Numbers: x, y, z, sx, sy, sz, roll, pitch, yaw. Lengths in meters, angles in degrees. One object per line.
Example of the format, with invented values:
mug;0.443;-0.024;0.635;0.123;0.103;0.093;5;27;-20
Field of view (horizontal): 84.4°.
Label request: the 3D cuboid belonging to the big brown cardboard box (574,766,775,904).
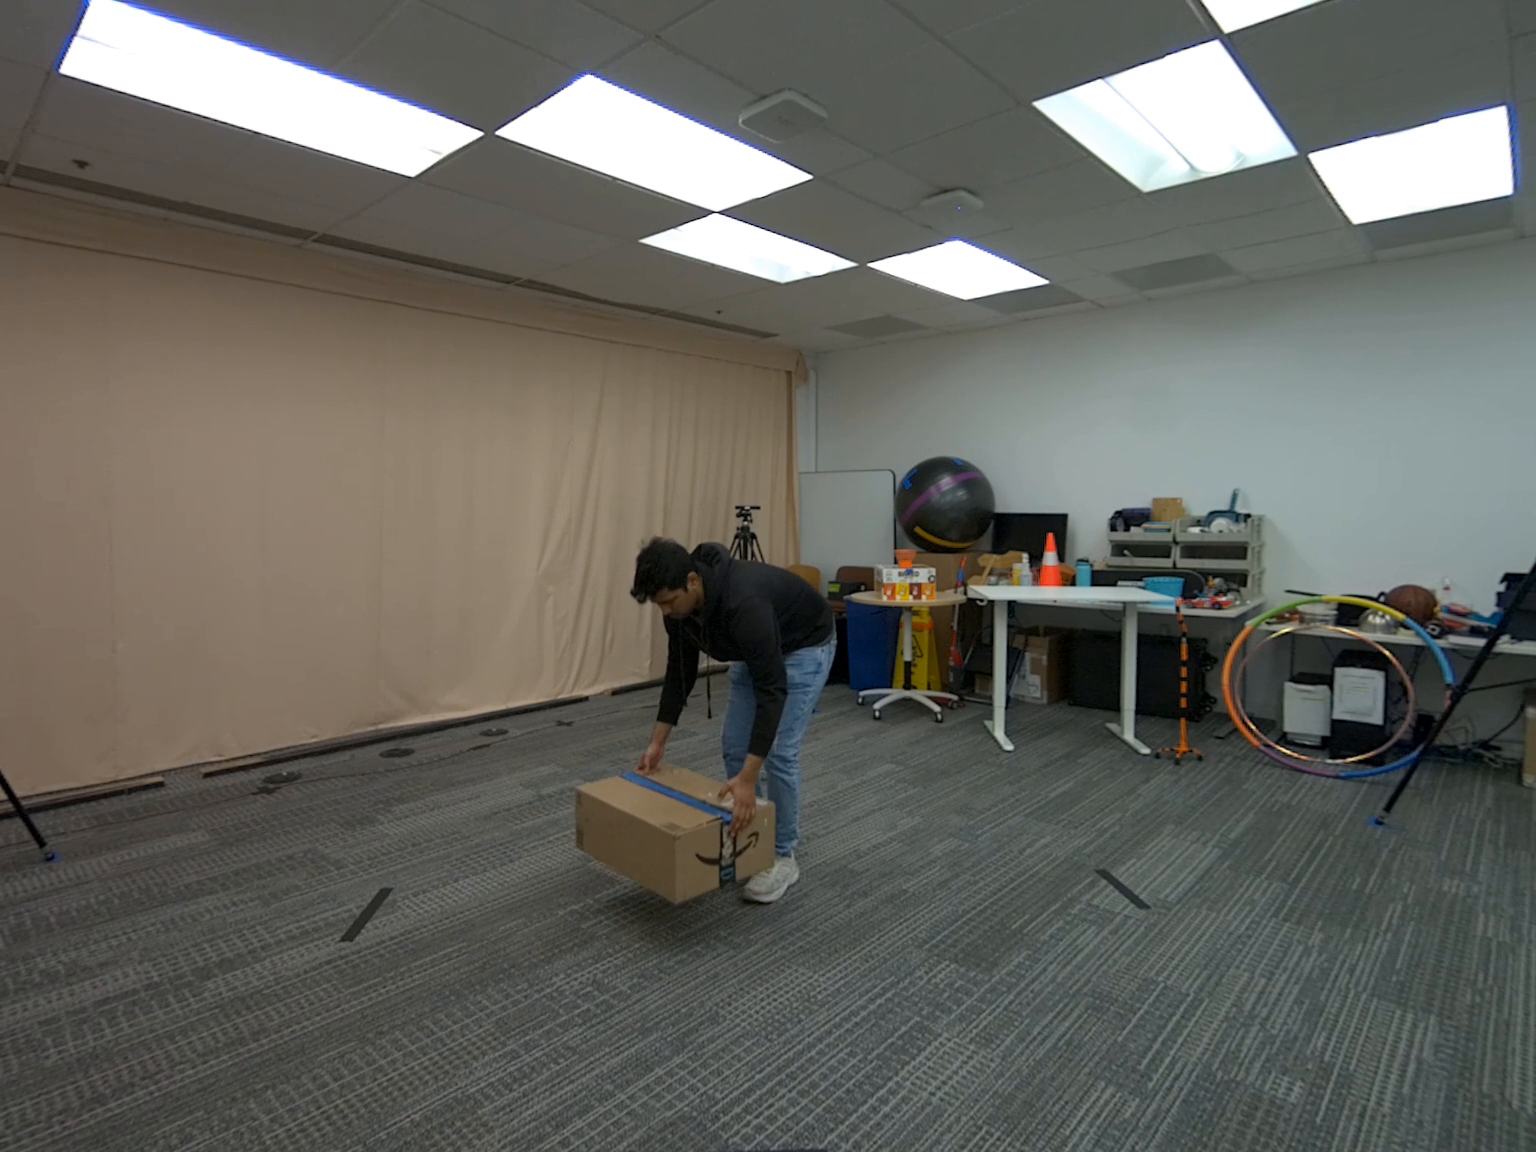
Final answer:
big brown cardboard box;-0.318;0.839;2.843;0.405;0.233;0.608;-4;5;-43
